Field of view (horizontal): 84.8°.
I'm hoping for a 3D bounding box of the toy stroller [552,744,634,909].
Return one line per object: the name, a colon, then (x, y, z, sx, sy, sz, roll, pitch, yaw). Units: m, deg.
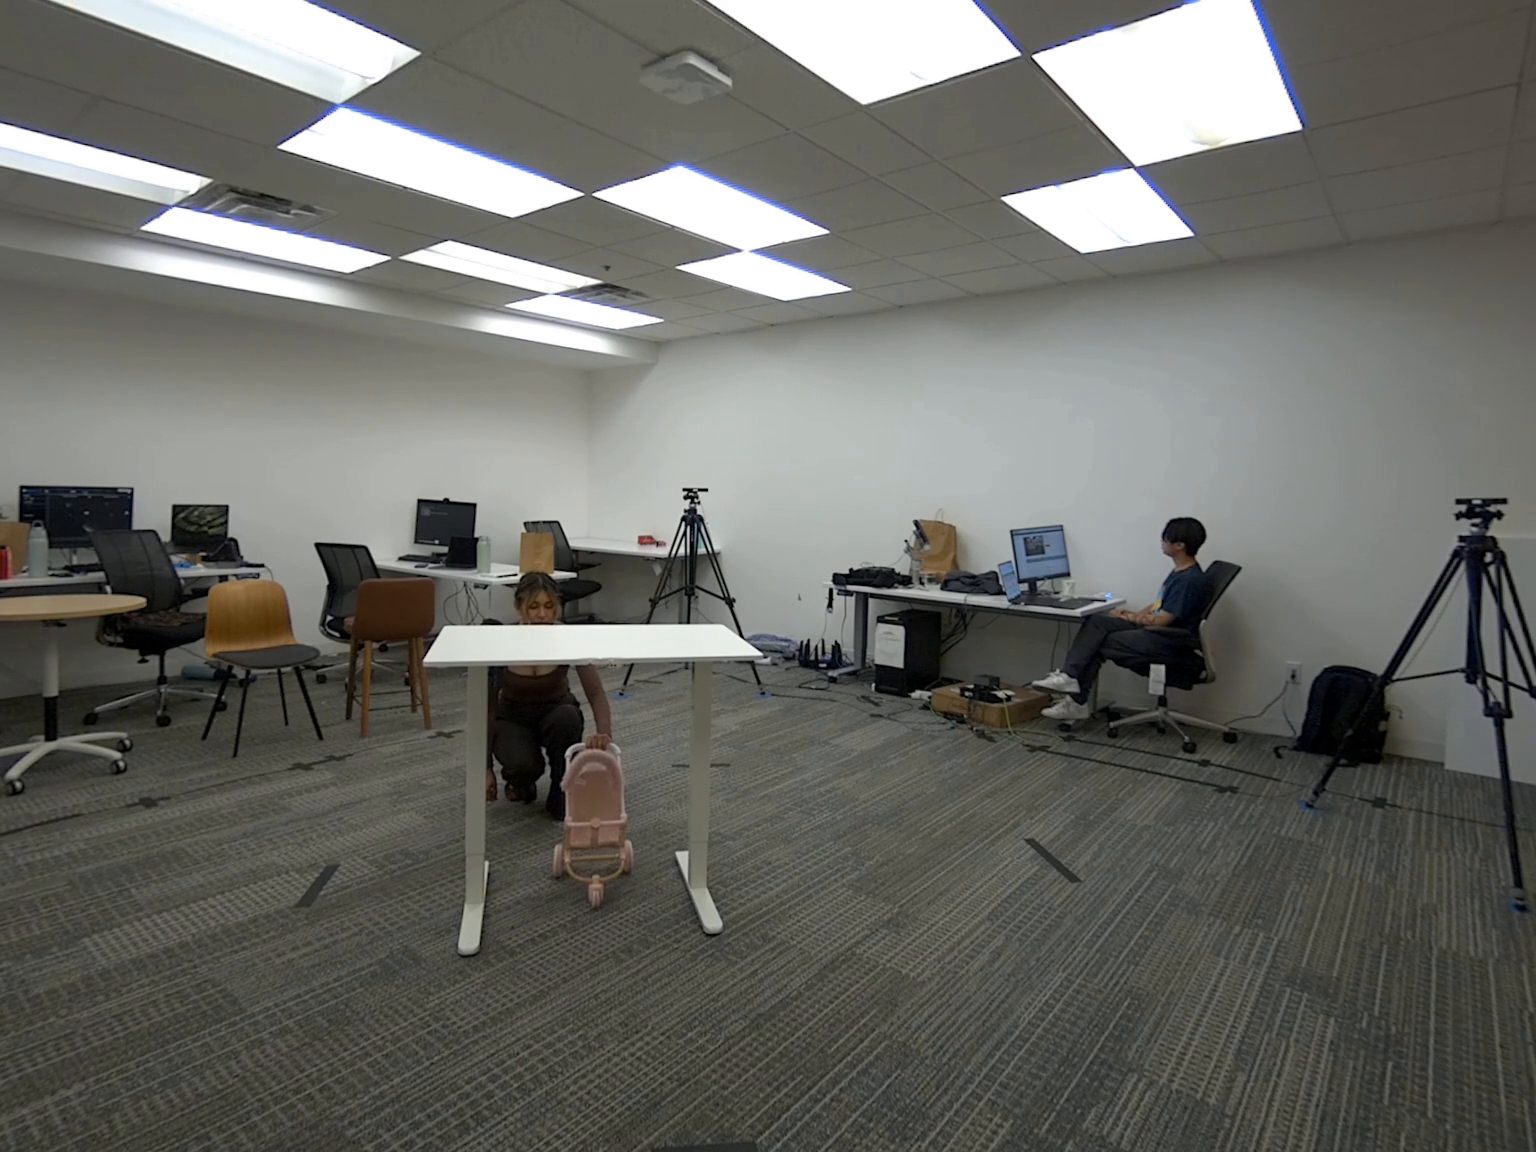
toy stroller: (-0.622, 0.845, 2.988, 0.279, 0.542, 0.340, 0, -13, -9)
